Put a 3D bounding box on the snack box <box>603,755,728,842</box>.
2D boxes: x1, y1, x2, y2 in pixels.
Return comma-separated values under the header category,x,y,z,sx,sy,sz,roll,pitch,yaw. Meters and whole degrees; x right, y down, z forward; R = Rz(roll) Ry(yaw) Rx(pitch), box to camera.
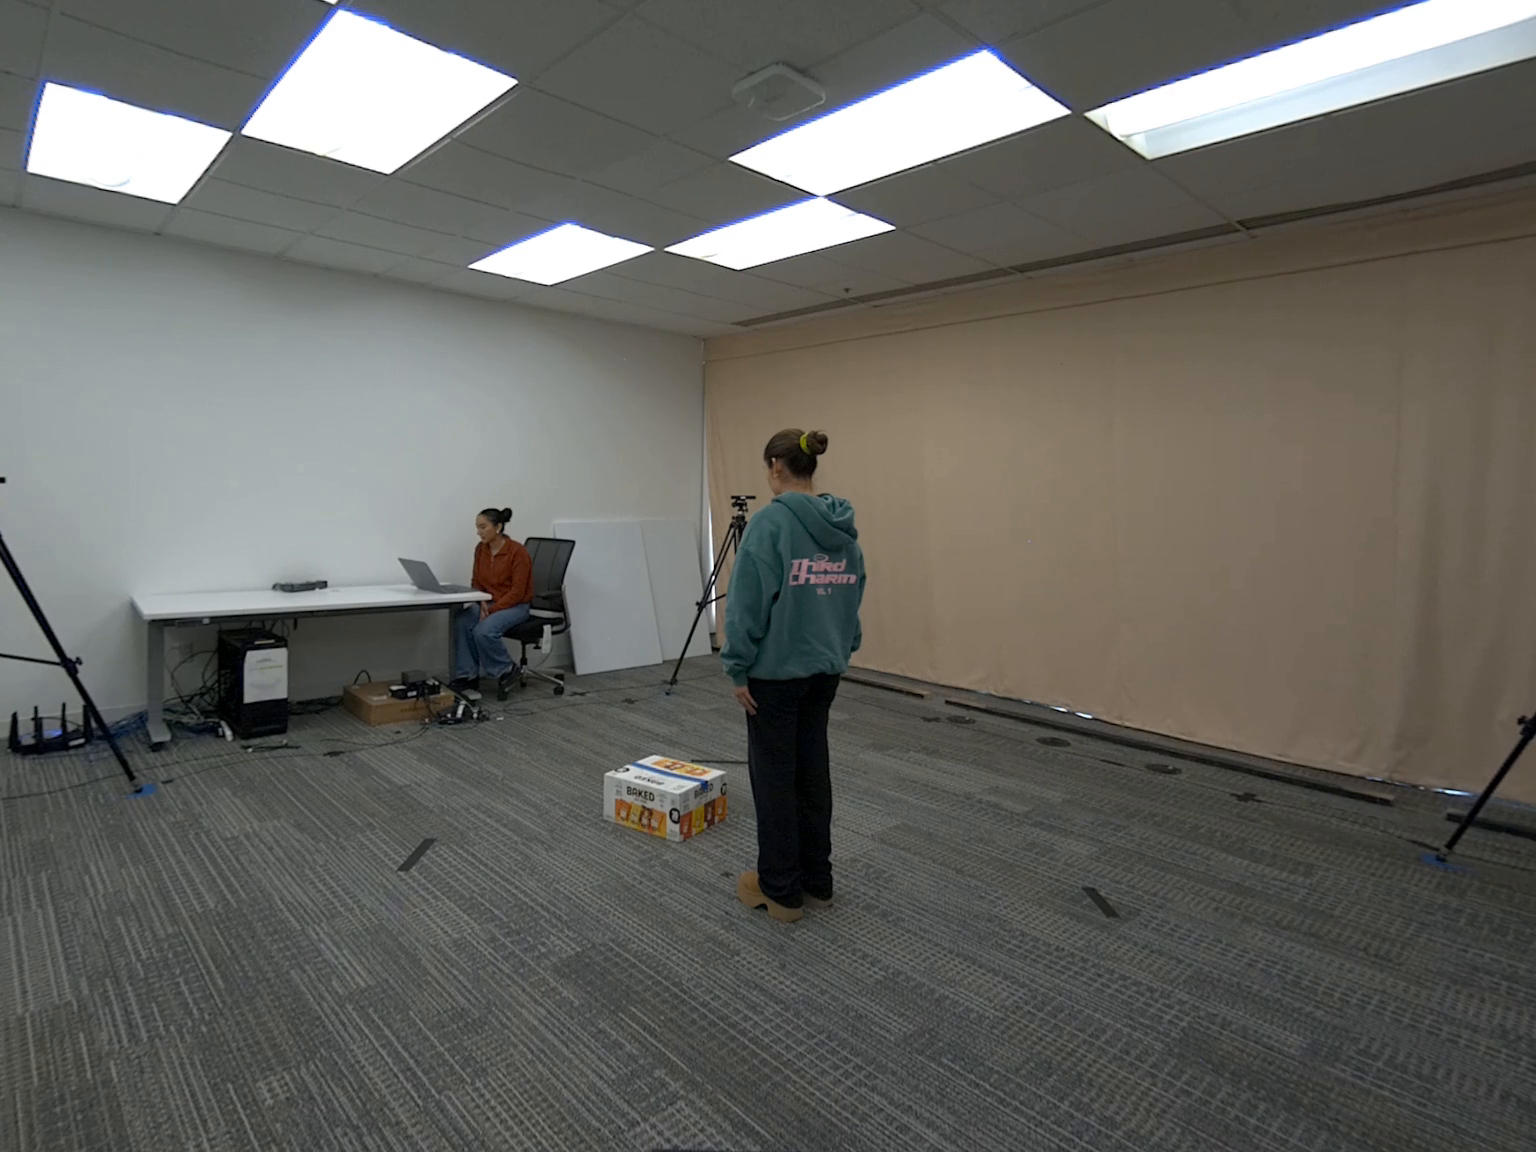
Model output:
category,x,y,z,sx,sy,sz,roll,pitch,yaw
snack box,-0.449,0.949,3.623,0.414,0.205,0.333,5,5,32
